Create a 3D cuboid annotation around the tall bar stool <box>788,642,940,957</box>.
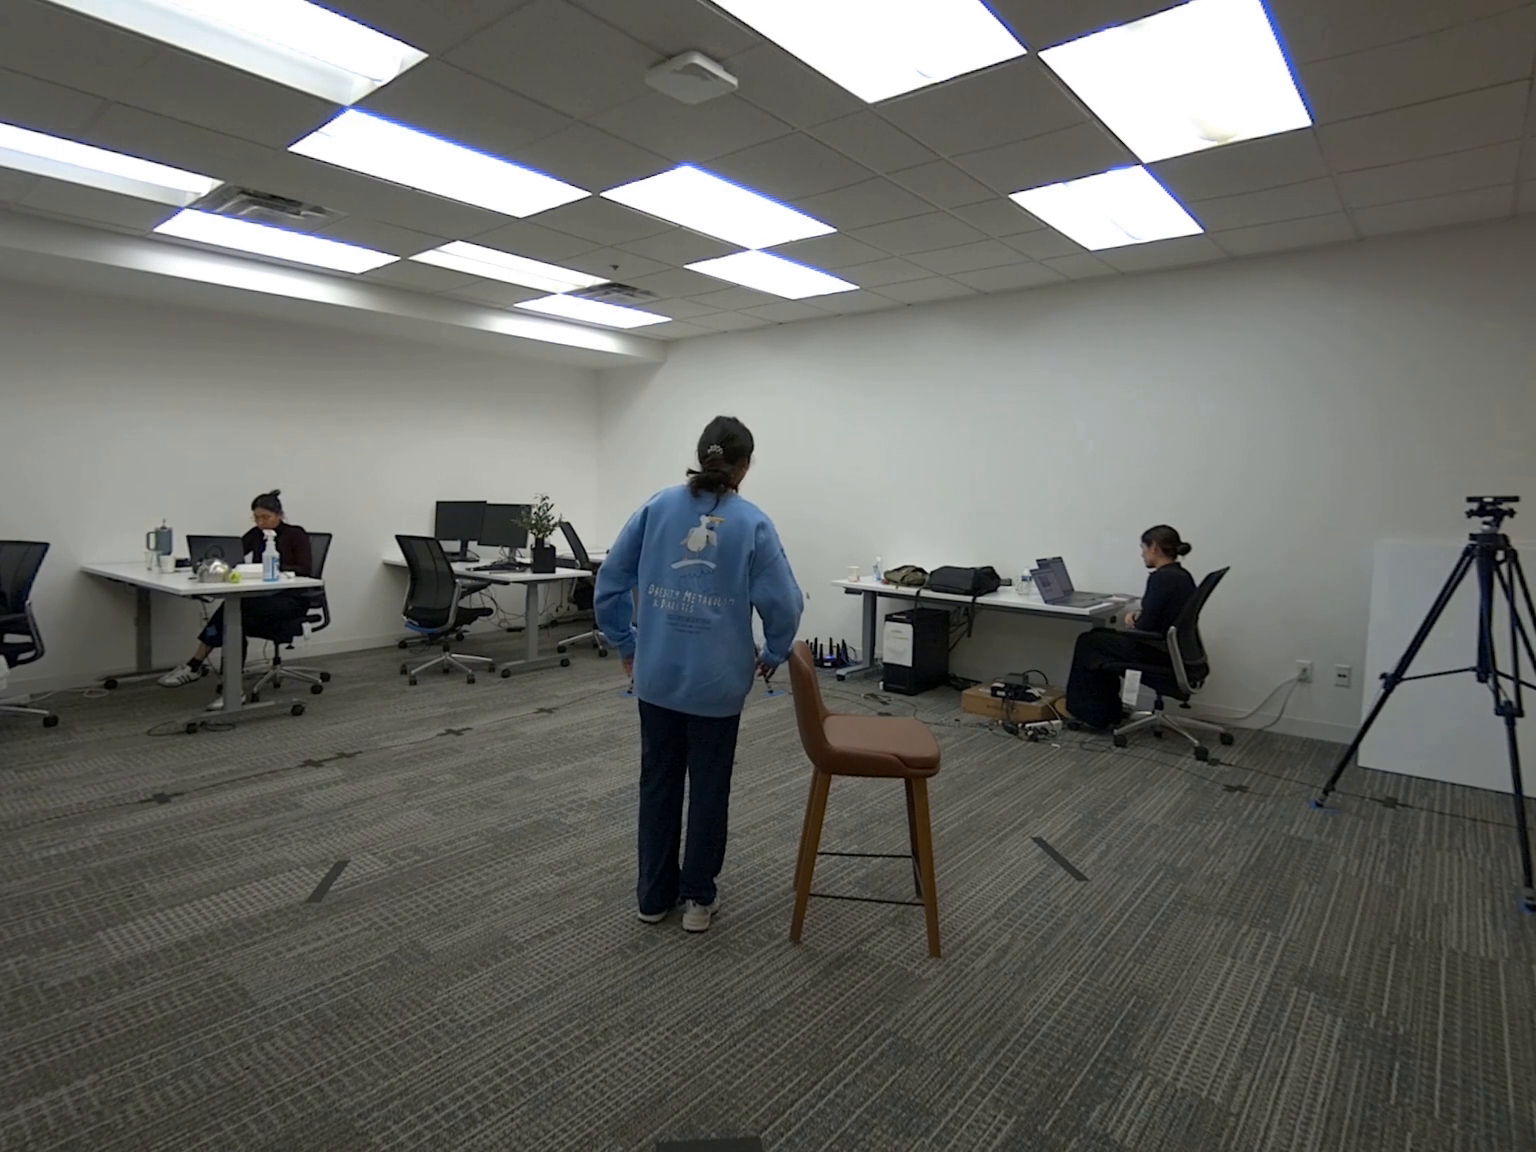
[{"bbox_3d":[0.302,0.679,2.742,0.471,0.887,0.454,0,3,6],"label":"tall bar stool"}]
